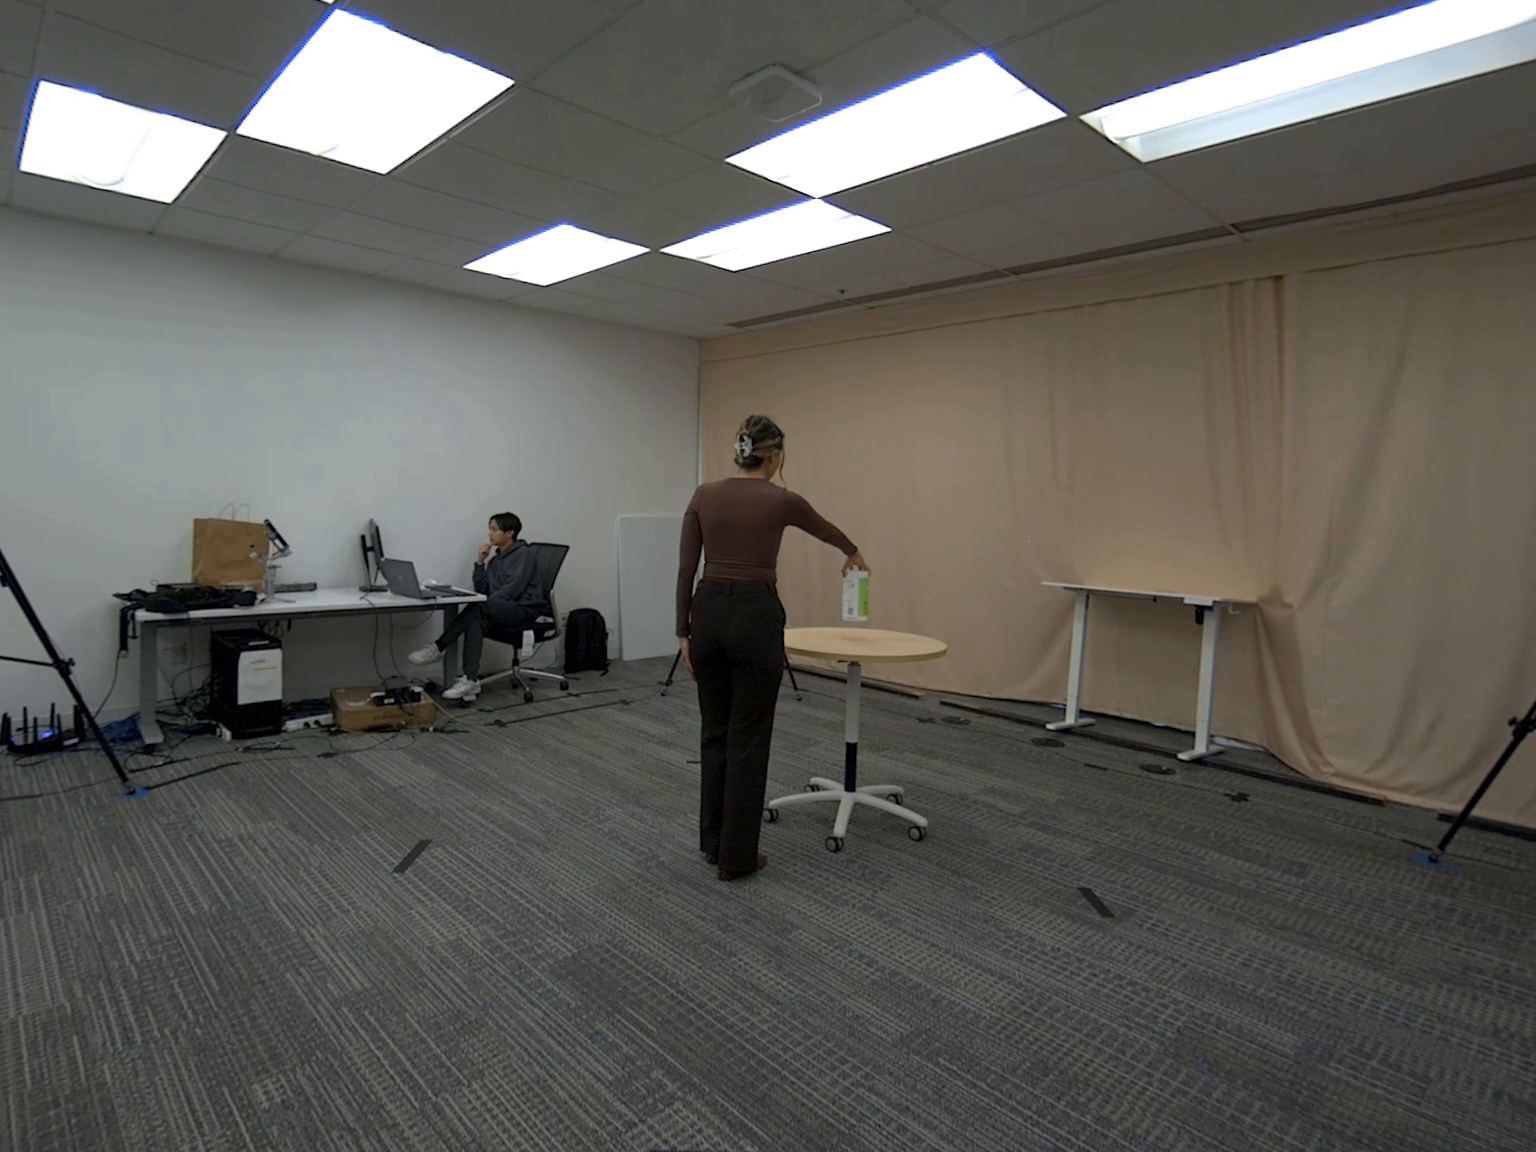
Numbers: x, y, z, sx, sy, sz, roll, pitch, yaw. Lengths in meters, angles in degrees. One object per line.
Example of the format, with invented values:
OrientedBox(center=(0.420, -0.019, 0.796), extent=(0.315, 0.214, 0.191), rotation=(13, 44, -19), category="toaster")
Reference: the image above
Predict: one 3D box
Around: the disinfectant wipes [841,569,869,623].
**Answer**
OrientedBox(center=(0.372, 0.085, 3.636), extent=(0.118, 0.217, 0.118), rotation=(2, 3, -1), category="disinfectant wipes")
